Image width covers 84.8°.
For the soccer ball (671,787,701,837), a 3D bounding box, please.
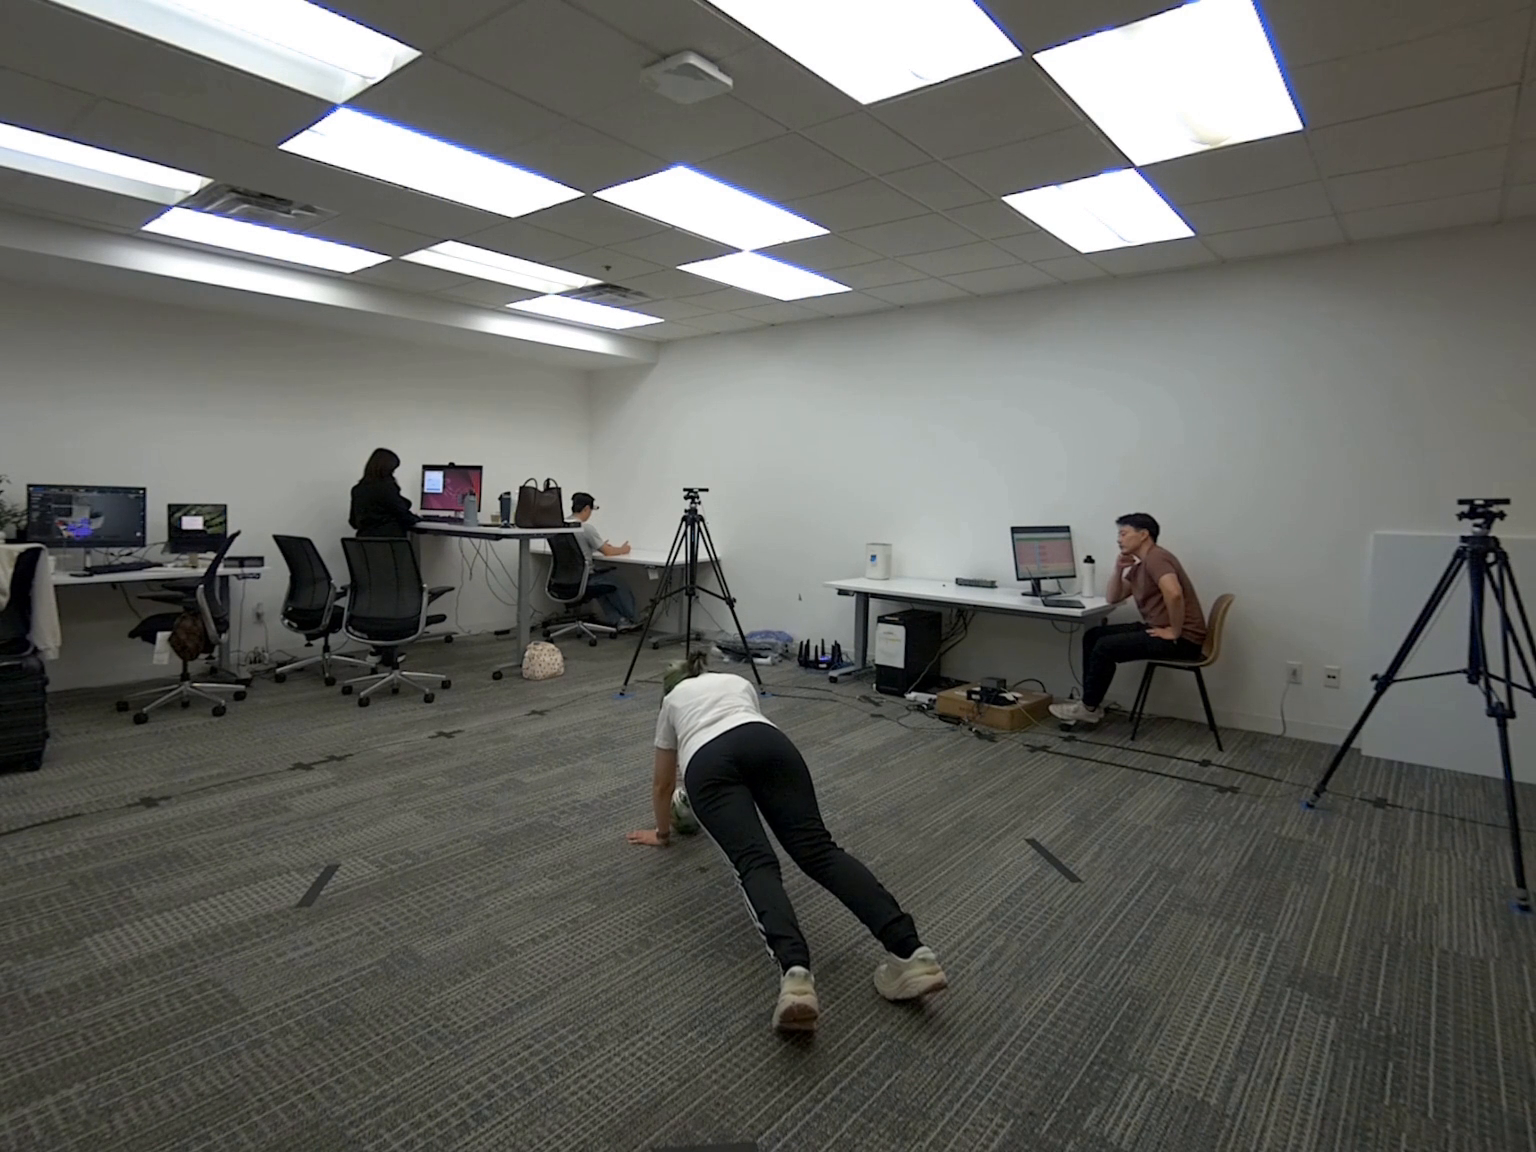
[{"bbox_3d":[-0.331,0.940,3.459,0.187,0.187,0.188,1,4,-2],"label":"soccer ball"}]
